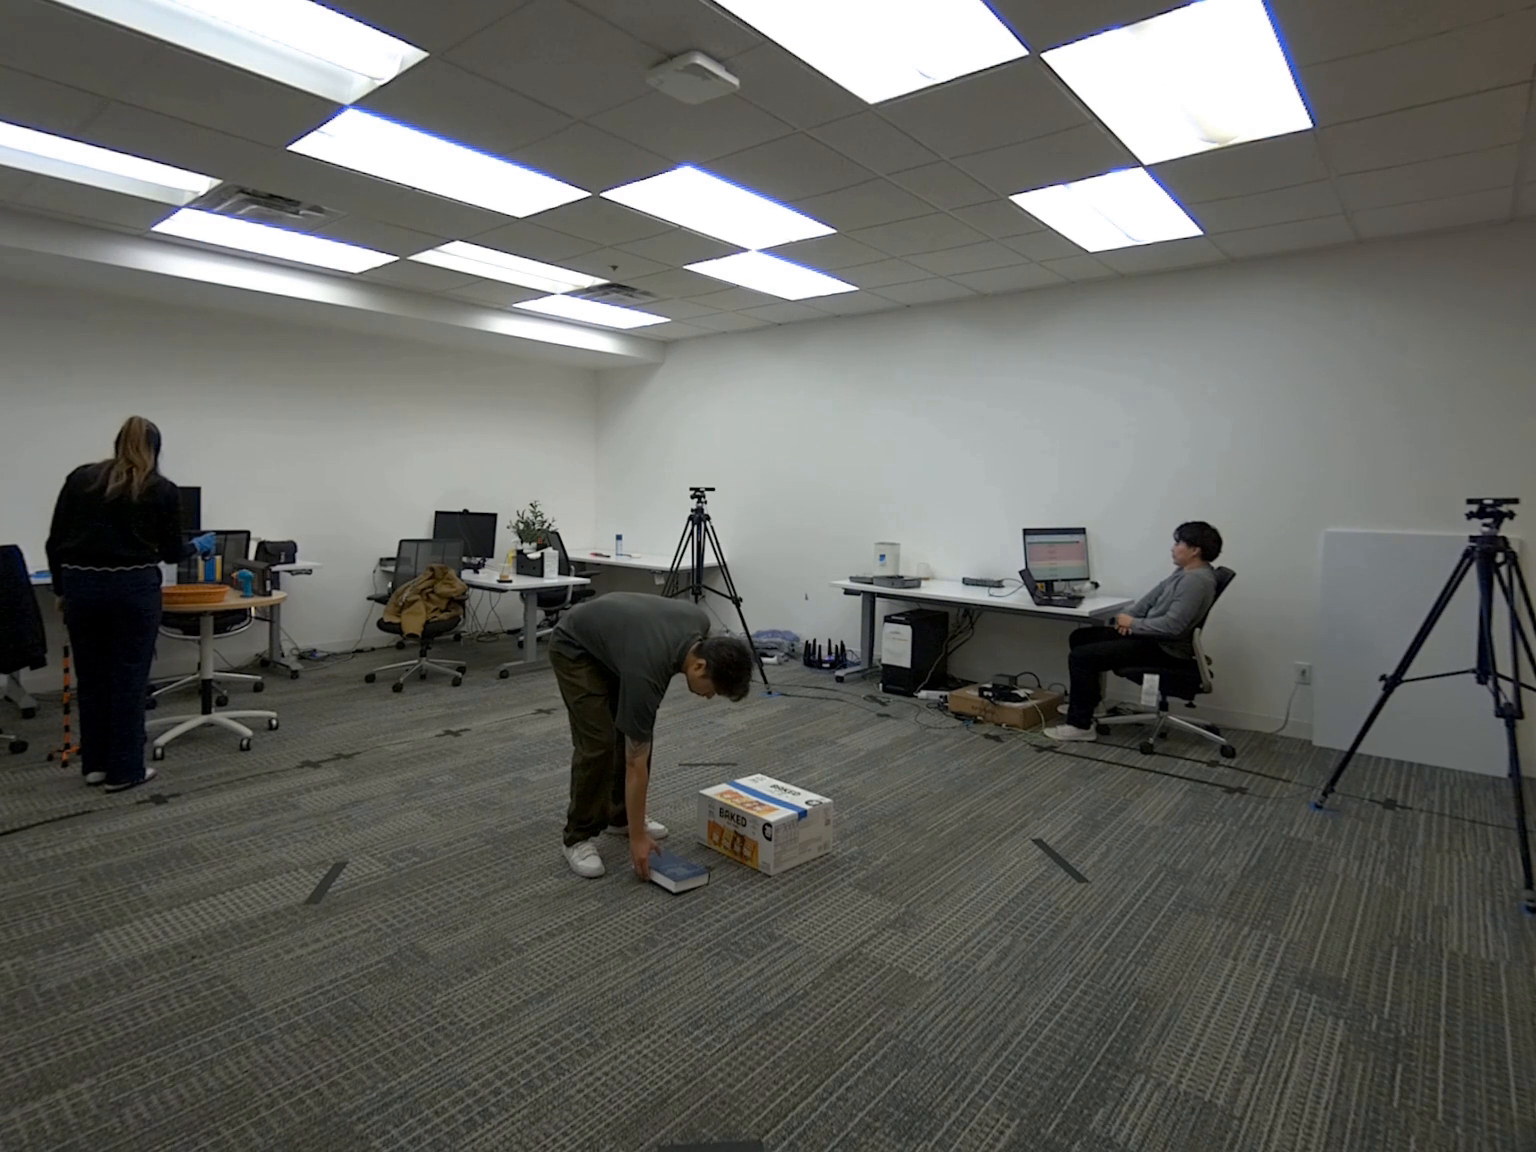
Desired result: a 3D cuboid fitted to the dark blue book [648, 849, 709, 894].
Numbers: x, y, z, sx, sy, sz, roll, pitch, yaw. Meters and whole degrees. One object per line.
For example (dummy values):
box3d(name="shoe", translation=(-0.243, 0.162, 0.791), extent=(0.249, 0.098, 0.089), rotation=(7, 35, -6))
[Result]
box3d(name="dark blue book", translation=(-0.355, 1.048, 3.017), extent=(0.158, 0.045, 0.253), rotation=(1, 3, -44))
